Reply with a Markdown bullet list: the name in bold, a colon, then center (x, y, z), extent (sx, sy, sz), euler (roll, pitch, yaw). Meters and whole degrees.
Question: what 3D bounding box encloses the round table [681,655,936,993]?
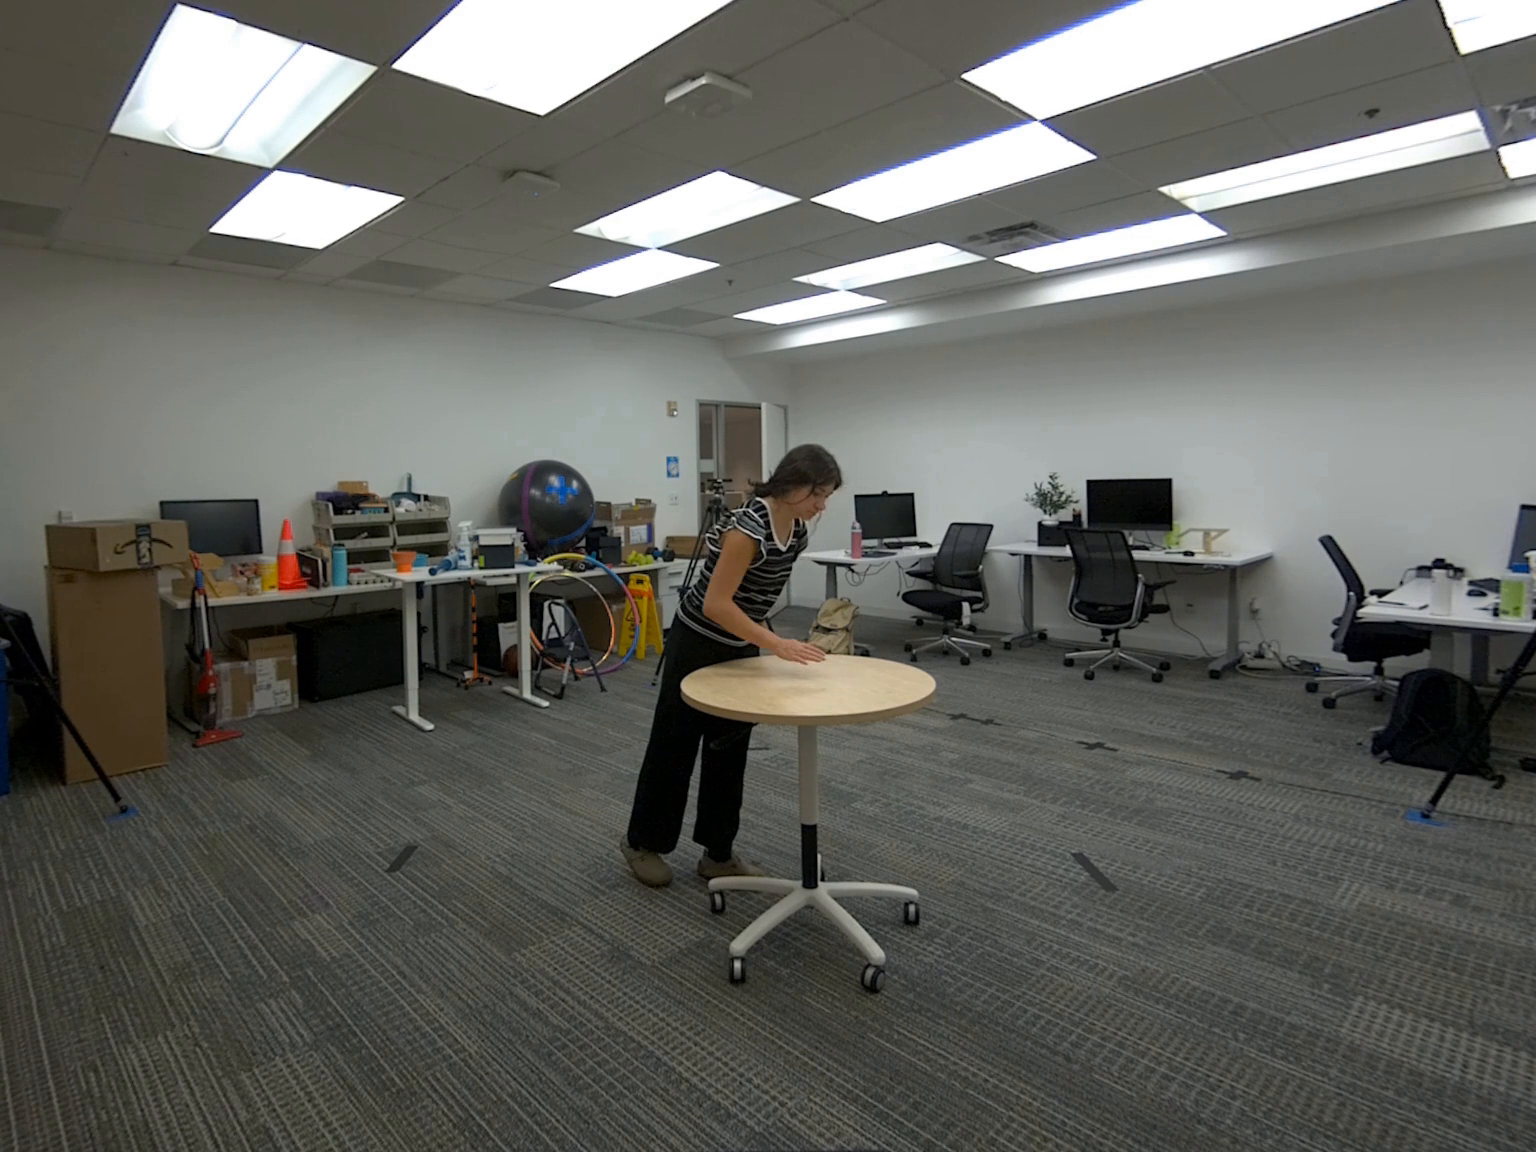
- **round table**: center (0.136, 0.711, 2.615), extent (0.763, 0.791, 0.768), euler (-2, 5, -2)
